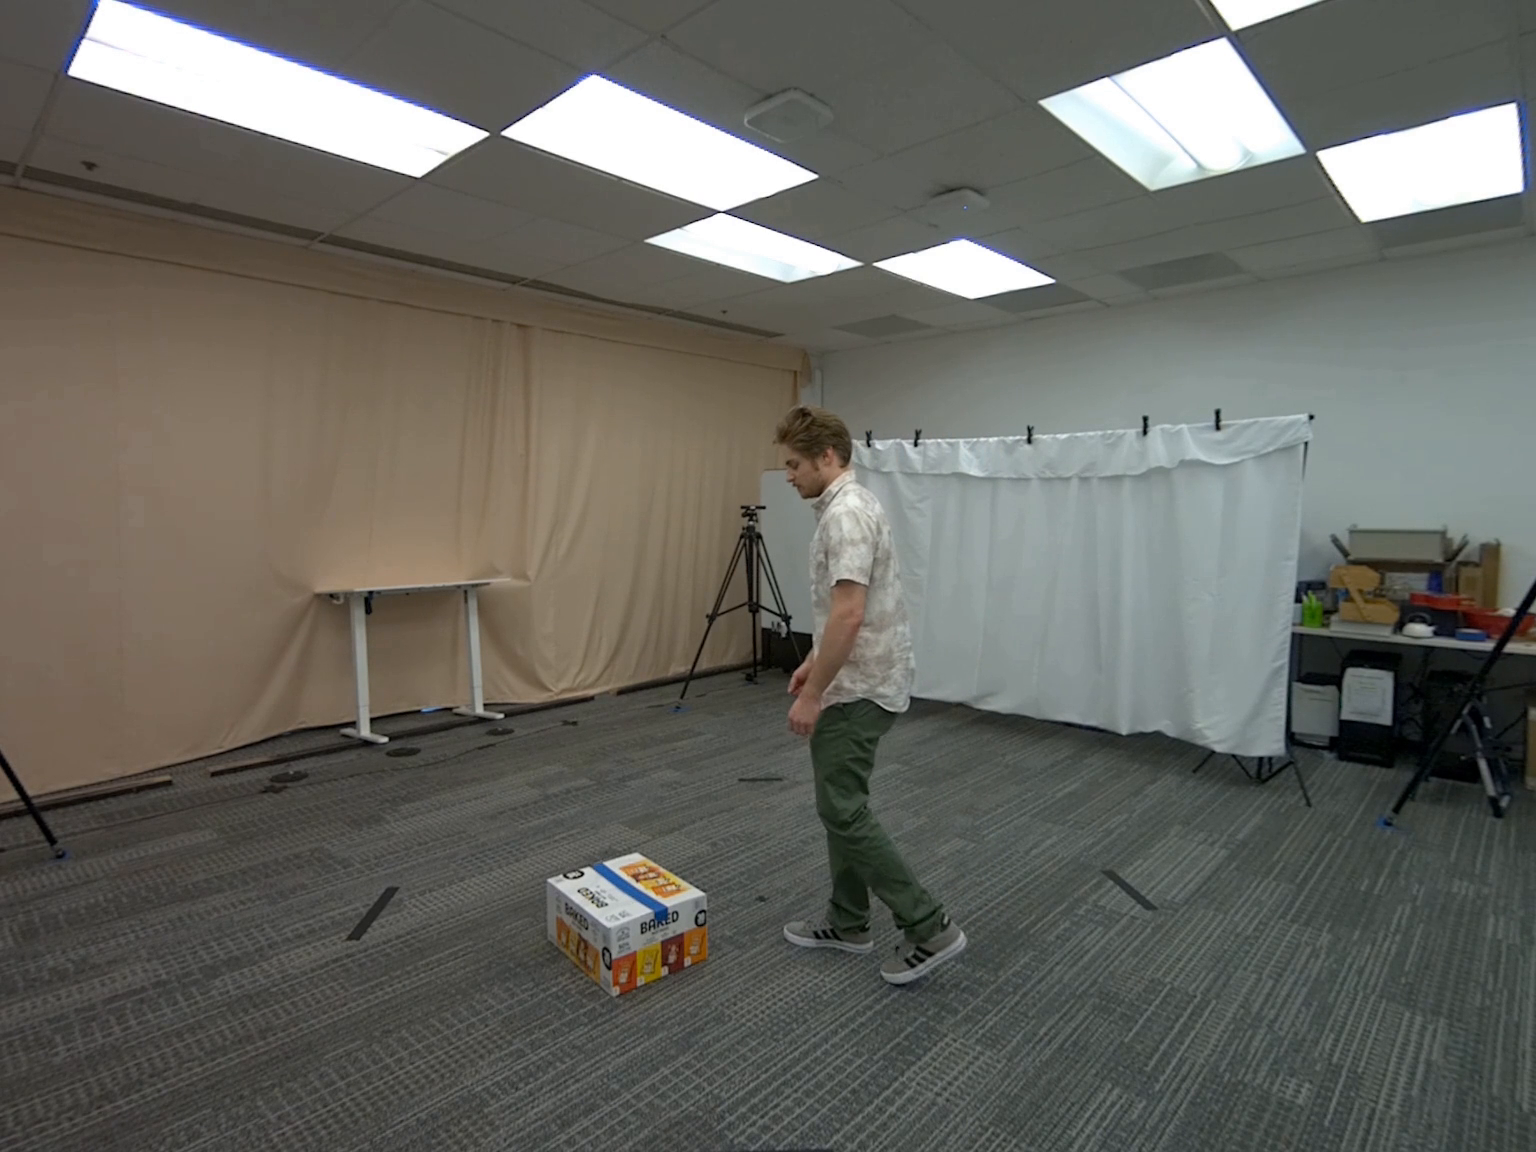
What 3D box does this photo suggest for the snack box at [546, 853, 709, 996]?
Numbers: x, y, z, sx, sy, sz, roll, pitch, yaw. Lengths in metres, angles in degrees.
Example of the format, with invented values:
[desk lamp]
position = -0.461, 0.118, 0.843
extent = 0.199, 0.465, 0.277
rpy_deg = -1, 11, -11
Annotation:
[snack box]
position = -0.447, 1.076, 2.636
extent = 0.330, 0.205, 0.418
rpy_deg = -3, 5, -39
